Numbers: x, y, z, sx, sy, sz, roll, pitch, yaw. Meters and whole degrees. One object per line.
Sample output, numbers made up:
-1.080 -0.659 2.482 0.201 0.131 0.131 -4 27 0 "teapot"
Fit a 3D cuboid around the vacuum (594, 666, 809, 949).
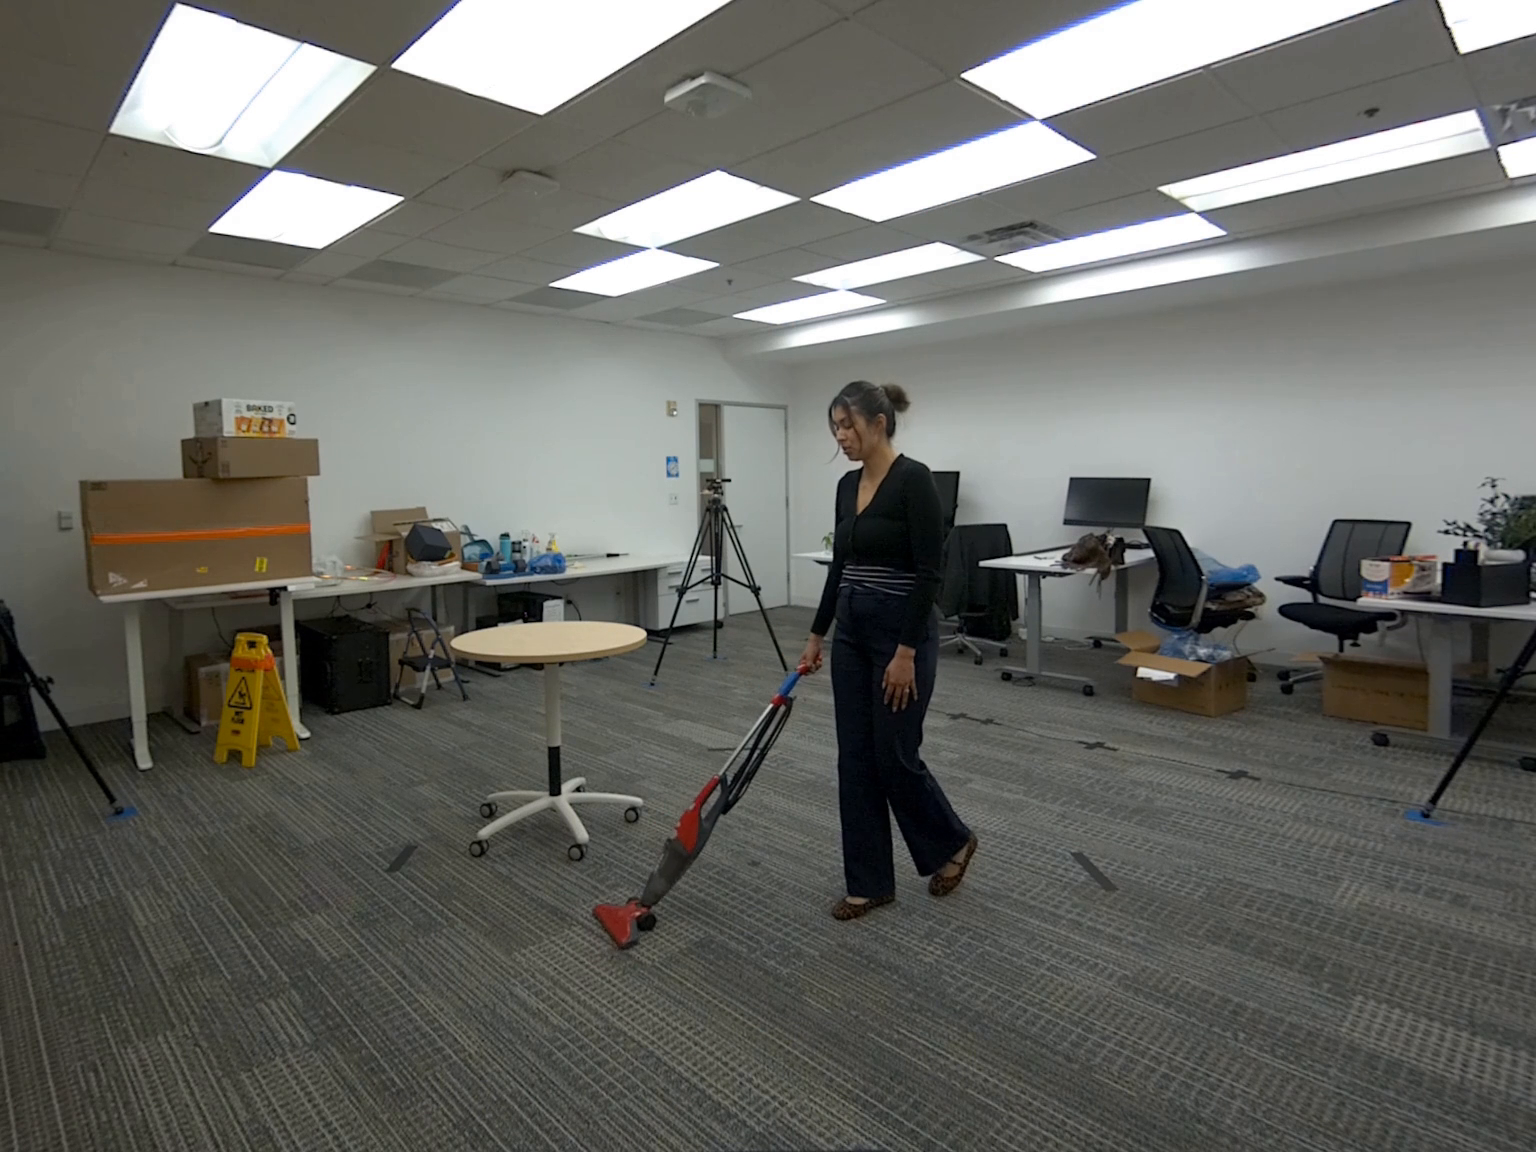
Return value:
-0.136 0.707 2.827 0.139 1.051 0.260 49 -20 -29 "vacuum"
